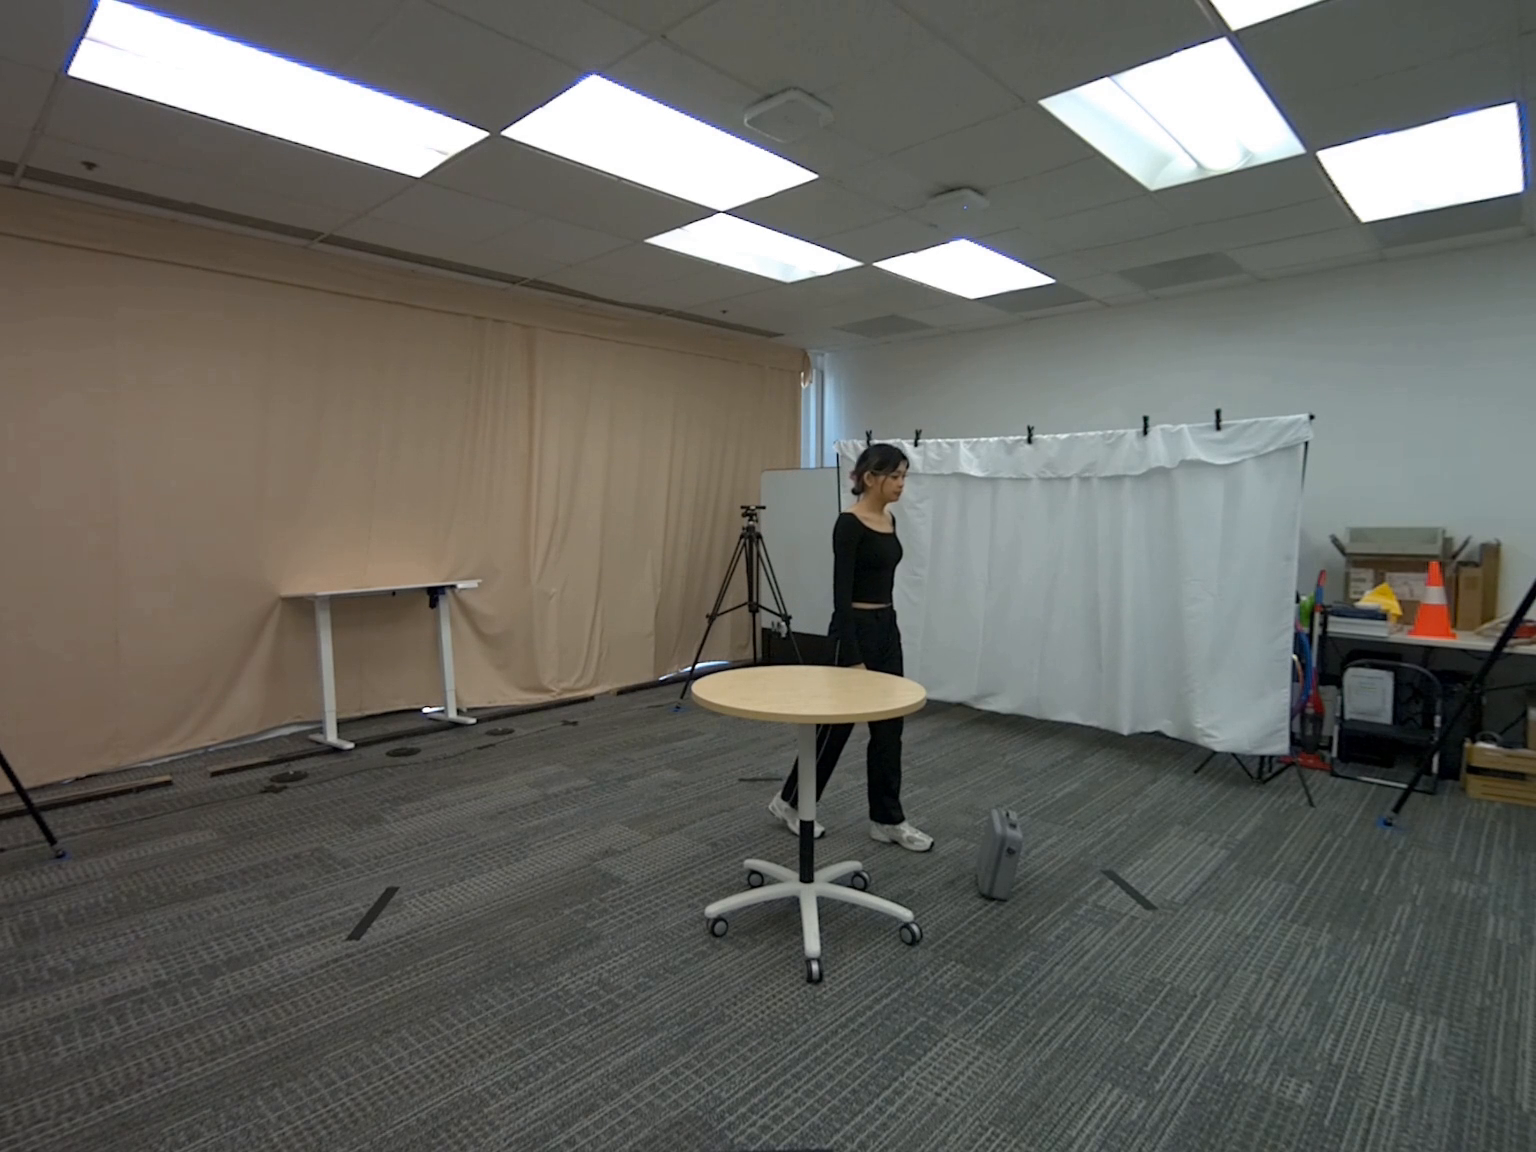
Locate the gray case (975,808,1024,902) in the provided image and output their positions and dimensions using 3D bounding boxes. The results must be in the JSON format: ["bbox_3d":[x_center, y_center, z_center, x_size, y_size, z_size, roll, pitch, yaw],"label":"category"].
[{"bbox_3d":[0.843,1.005,3.062,0.106,0.260,0.254,11,6,9],"label":"gray case"}]
